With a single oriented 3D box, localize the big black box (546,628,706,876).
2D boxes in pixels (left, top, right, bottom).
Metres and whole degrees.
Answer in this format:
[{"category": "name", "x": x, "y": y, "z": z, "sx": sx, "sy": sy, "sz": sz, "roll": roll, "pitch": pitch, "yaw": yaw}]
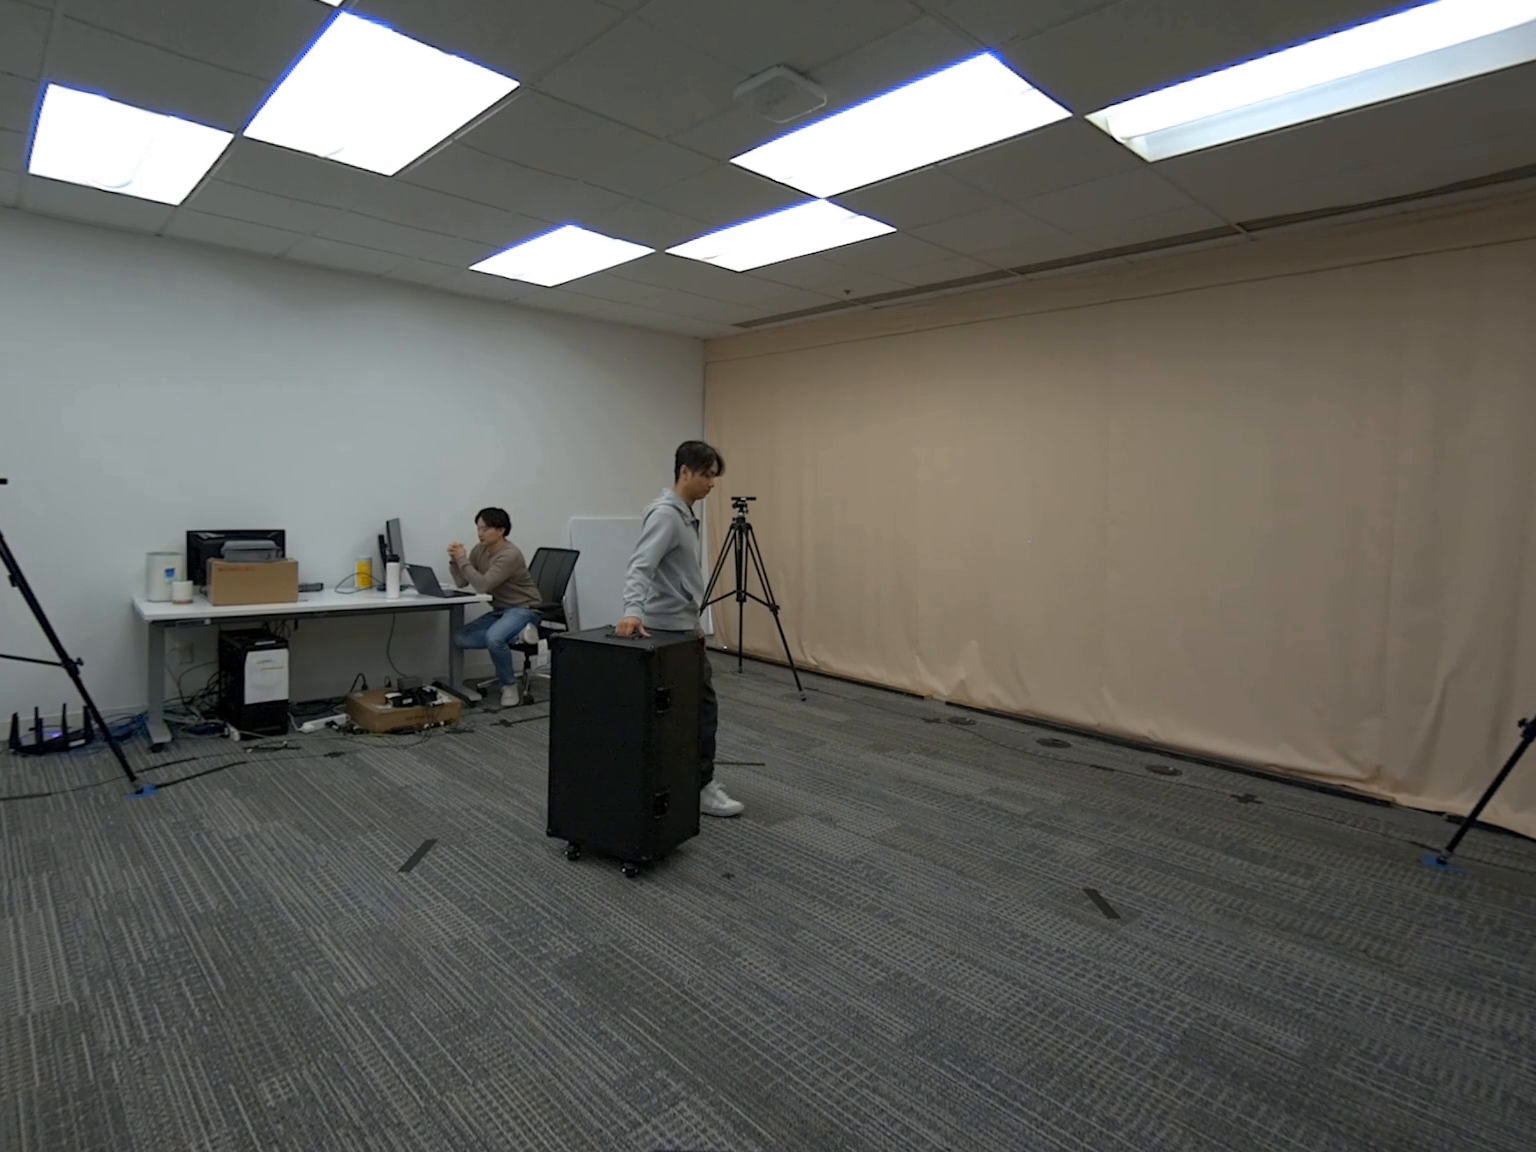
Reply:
[{"category": "big black box", "x": -0.559, "y": 0.656, "z": 3.278, "sx": 0.533, "sy": 0.860, "sz": 0.388, "roll": 4, "pitch": 2, "yaw": 30}]
